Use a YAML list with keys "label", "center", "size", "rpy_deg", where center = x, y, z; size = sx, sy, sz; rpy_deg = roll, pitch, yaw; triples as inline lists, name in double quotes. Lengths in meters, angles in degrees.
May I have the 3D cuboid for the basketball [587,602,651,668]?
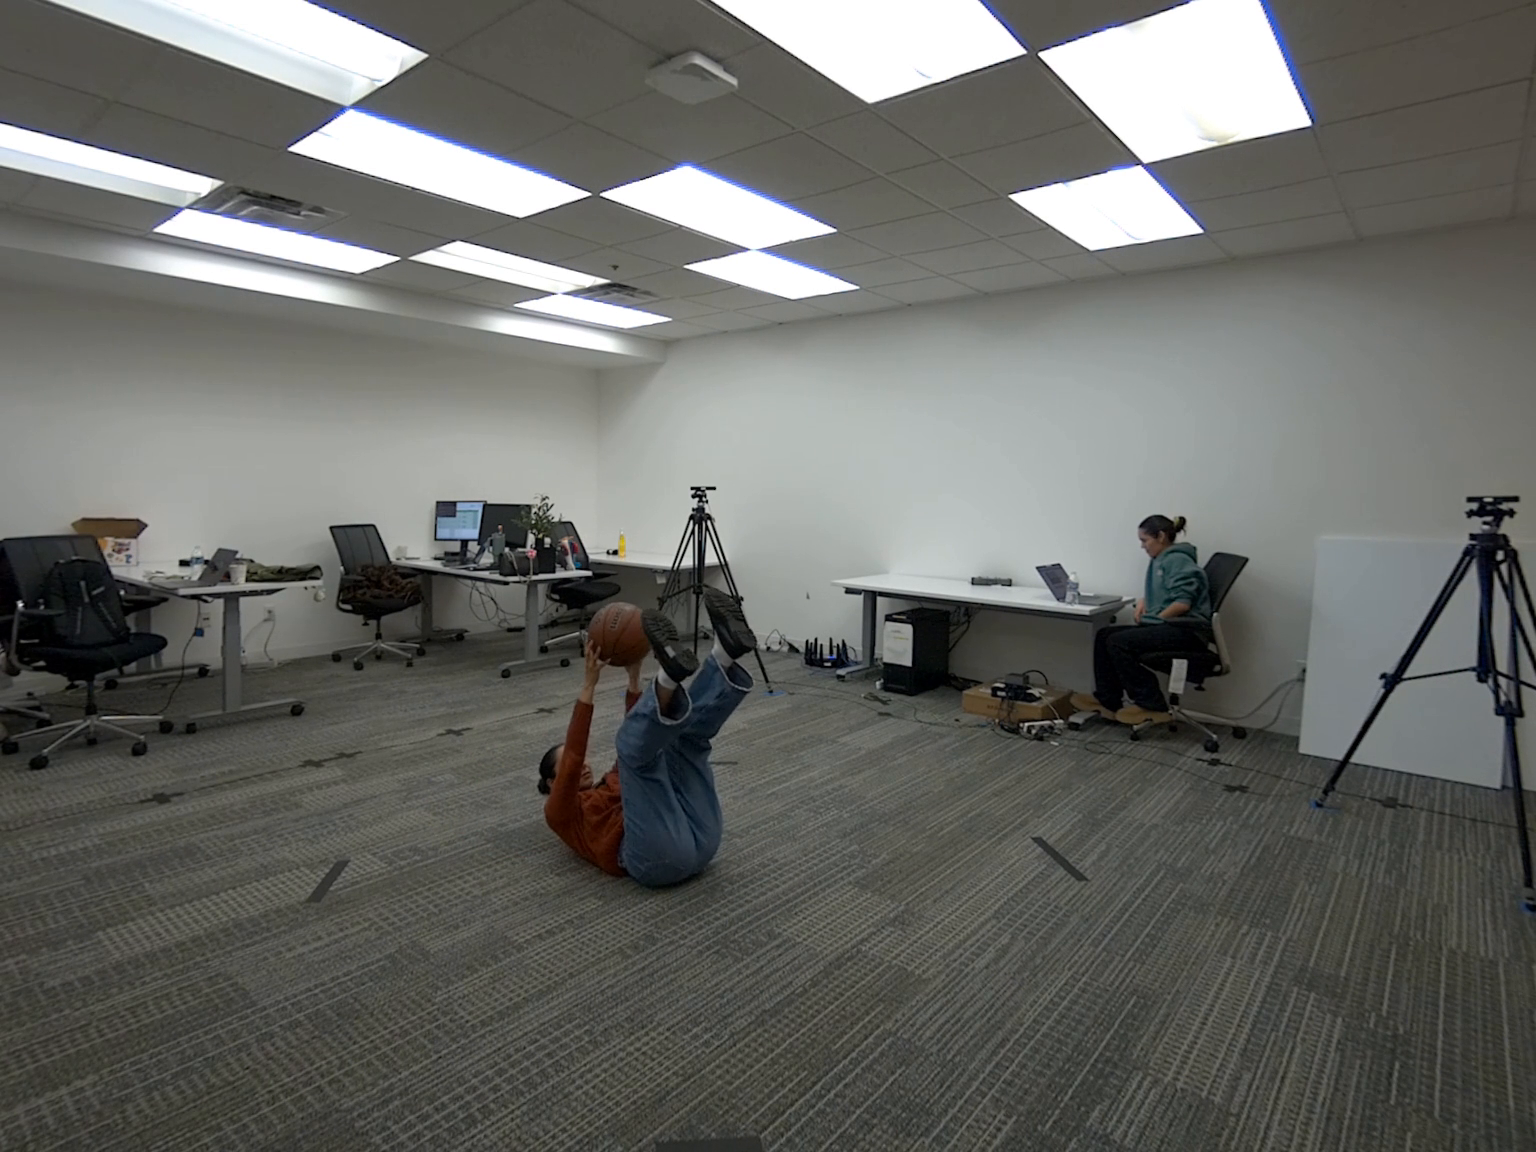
- label: "basketball"
  center: [-0.552, 0.212, 3.135]
  size: [0.236, 0.235, 0.237]
  rpy_deg: [-3, 3, -2]
